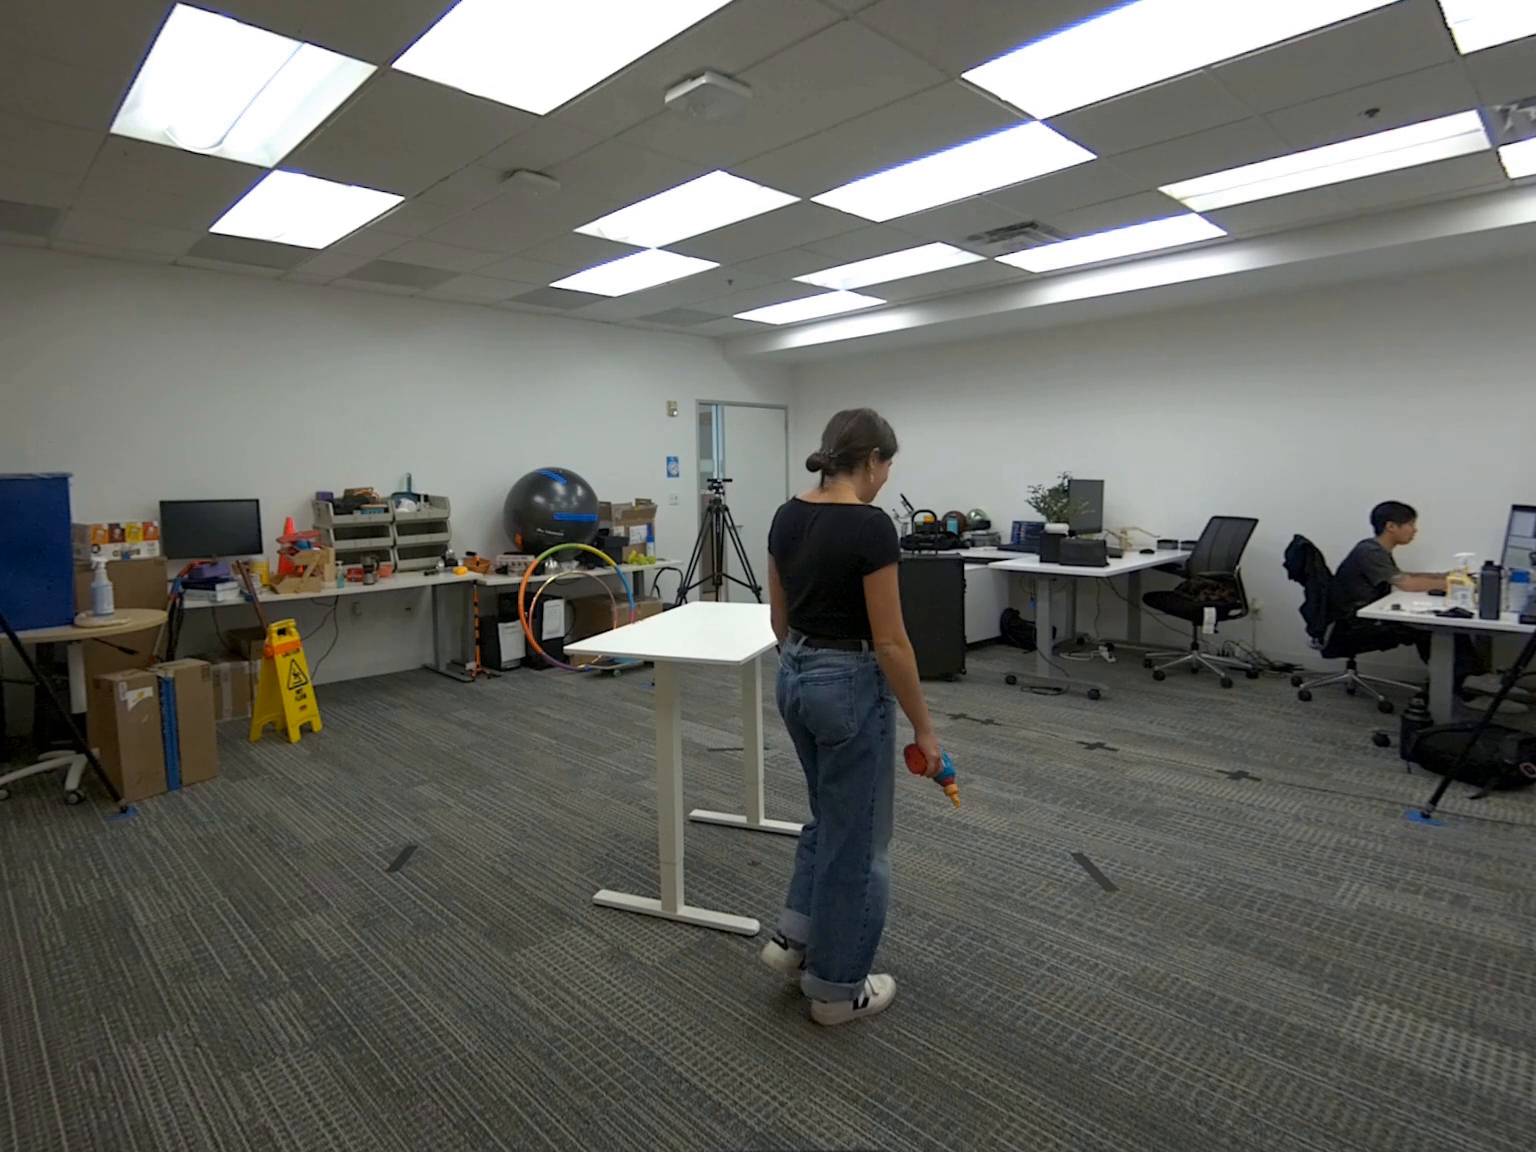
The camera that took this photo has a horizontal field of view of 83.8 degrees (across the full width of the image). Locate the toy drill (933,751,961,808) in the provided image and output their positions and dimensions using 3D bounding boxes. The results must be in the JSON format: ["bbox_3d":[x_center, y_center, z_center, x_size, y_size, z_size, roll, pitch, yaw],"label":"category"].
[{"bbox_3d":[0.395,0.492,2.105,0.141,0.175,0.061,14,-45,-41],"label":"toy drill"}]
